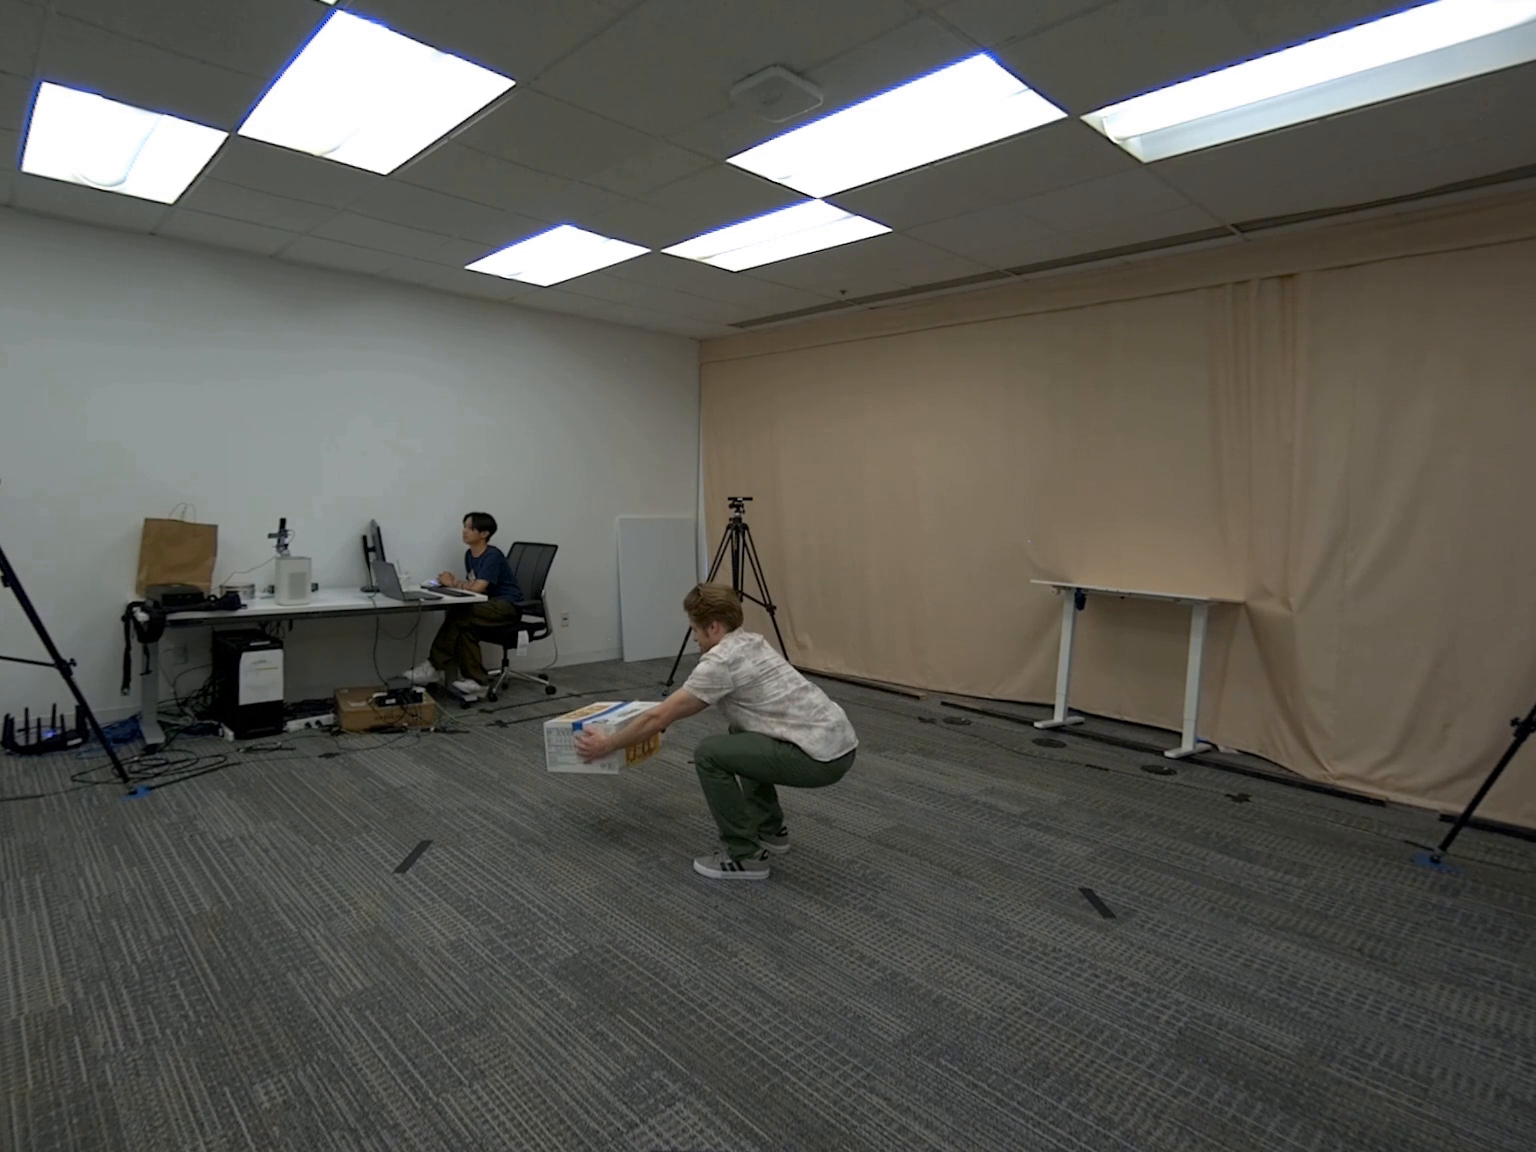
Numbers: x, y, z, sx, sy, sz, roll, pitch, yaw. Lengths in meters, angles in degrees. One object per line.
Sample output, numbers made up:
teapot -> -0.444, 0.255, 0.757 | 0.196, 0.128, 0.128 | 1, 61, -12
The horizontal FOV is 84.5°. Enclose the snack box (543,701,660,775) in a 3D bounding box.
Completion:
snack box -> -0.675, 0.660, 3.517 | 0.346, 0.205, 0.399 | -4, 2, 22
